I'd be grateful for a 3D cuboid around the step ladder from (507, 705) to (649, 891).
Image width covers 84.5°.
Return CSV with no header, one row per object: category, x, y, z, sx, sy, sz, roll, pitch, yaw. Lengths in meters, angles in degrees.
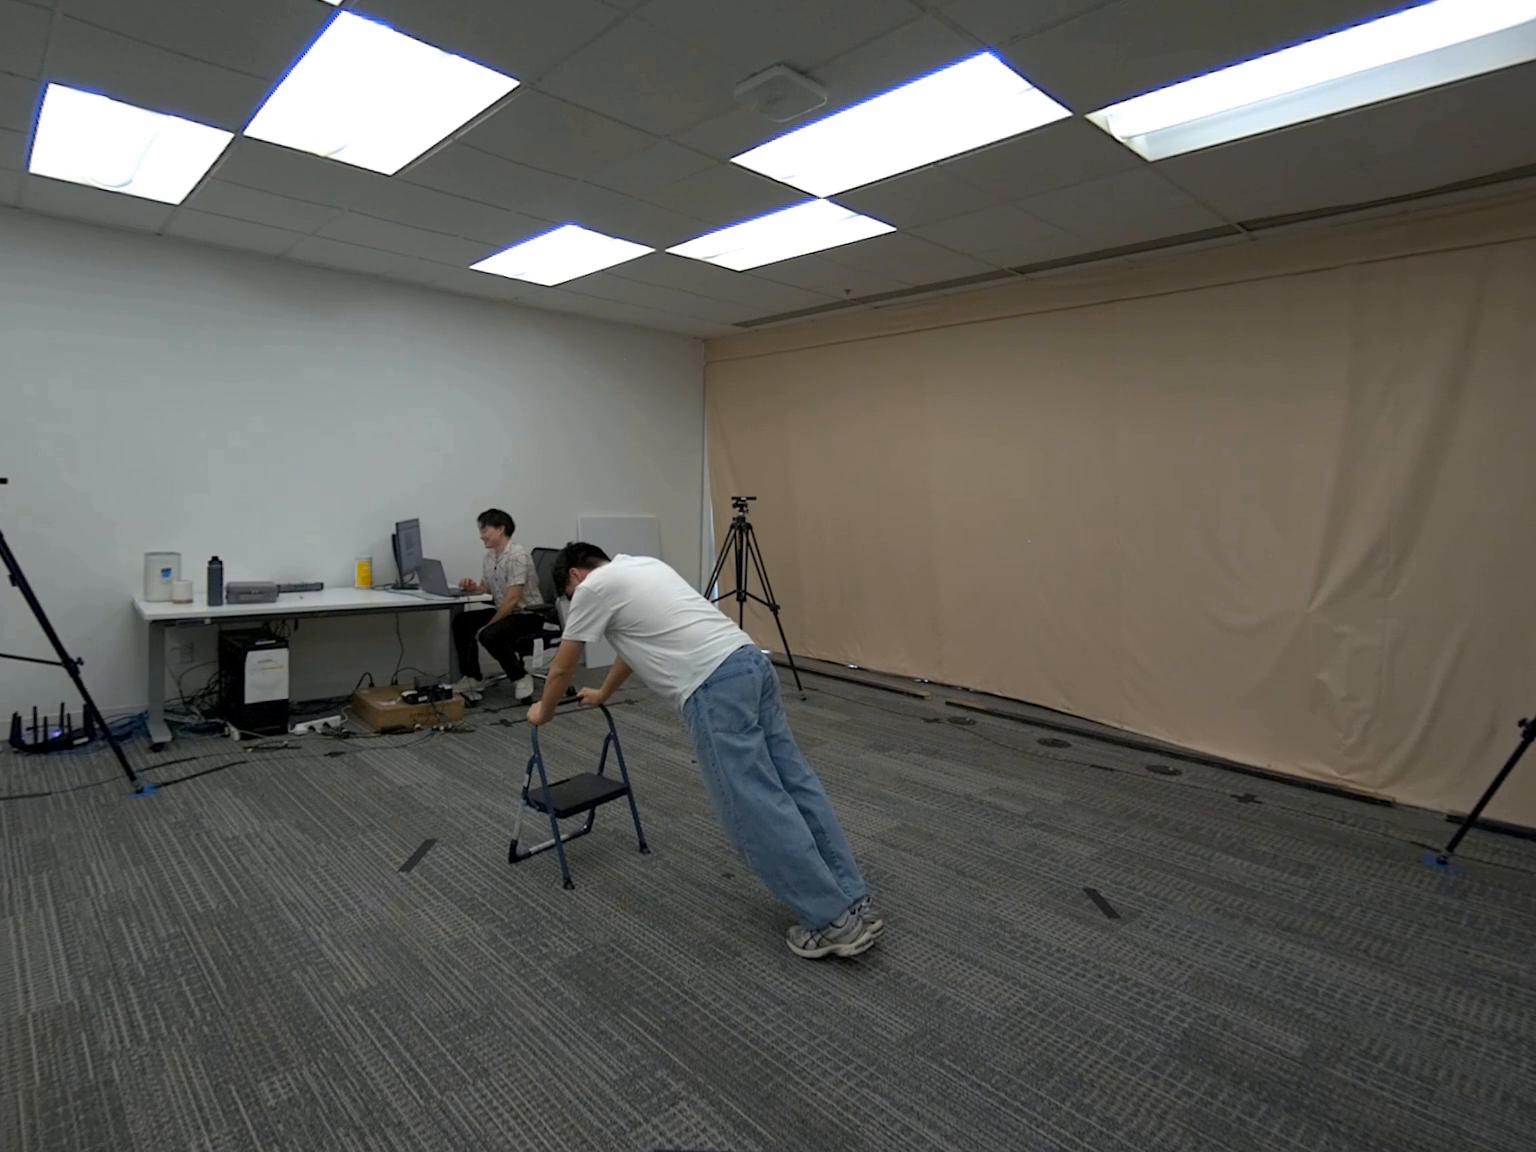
step ladder,-0.726,0.779,3.224,0.357,0.605,0.421,3,4,34
